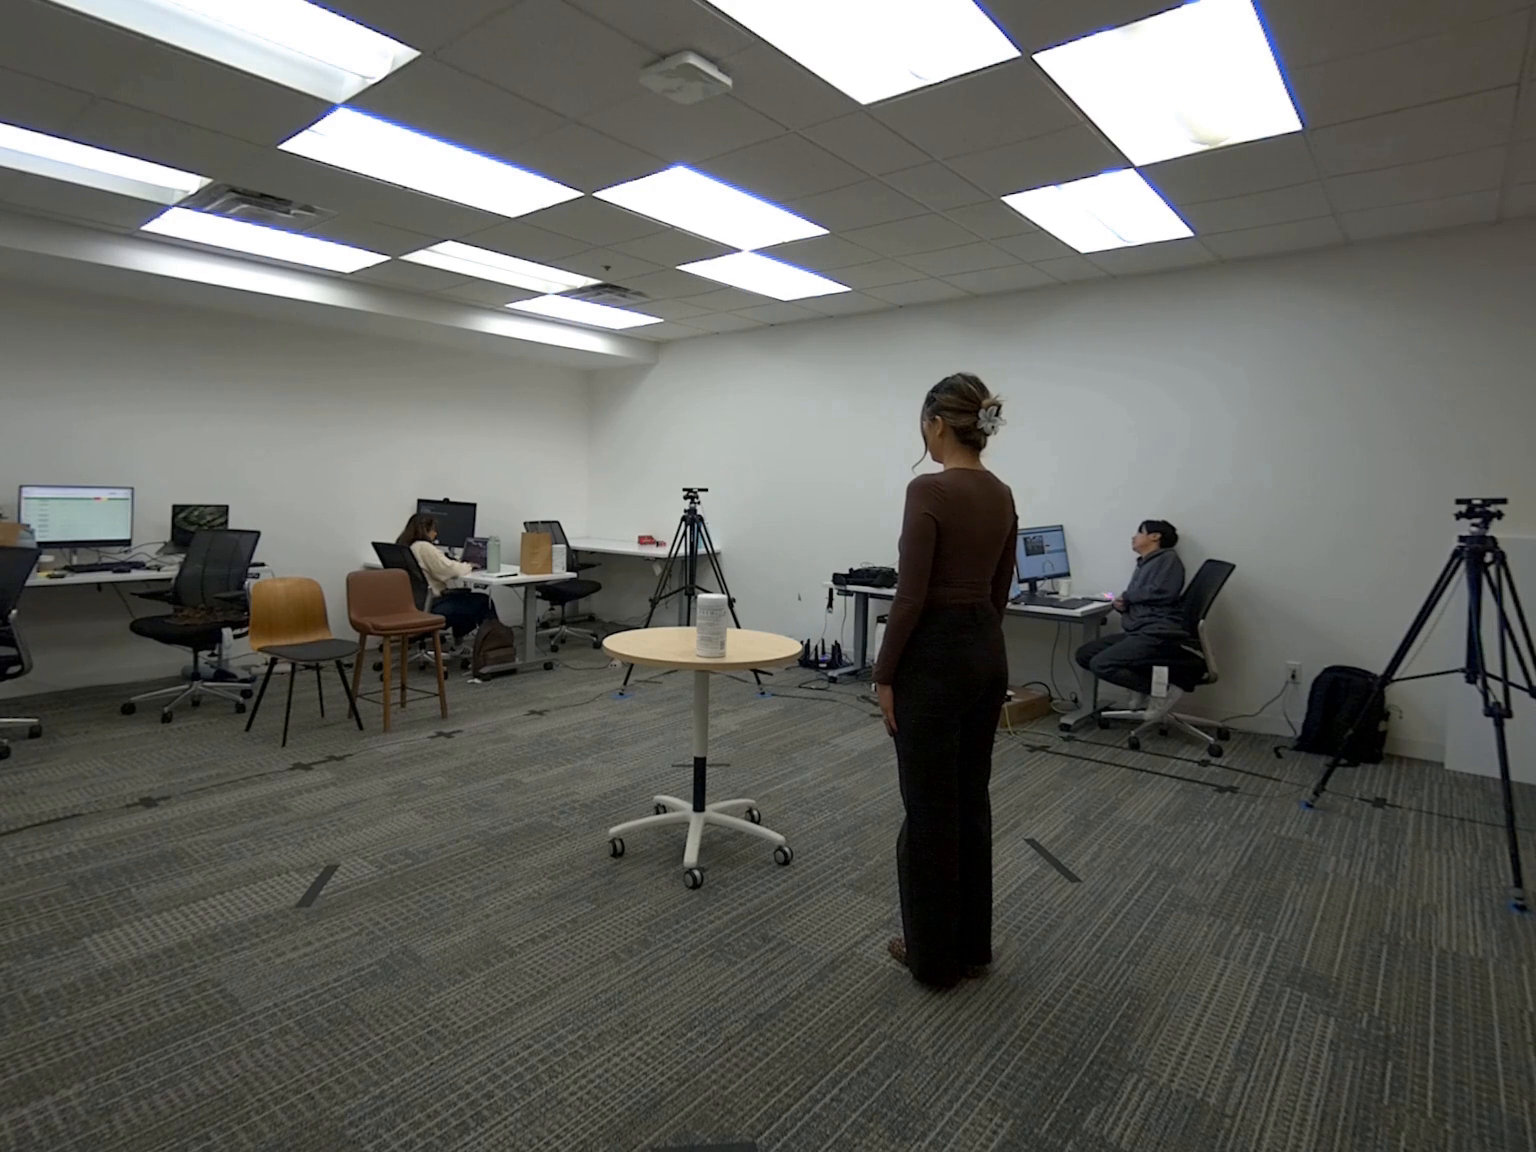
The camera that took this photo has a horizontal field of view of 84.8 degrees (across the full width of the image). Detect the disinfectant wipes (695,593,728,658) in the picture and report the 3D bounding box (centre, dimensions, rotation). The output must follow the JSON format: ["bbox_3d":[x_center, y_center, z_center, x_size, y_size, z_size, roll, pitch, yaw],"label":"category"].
[{"bbox_3d":[-0.216,0.175,3.024,0.118,0.217,0.118,1,3,-2],"label":"disinfectant wipes"}]
